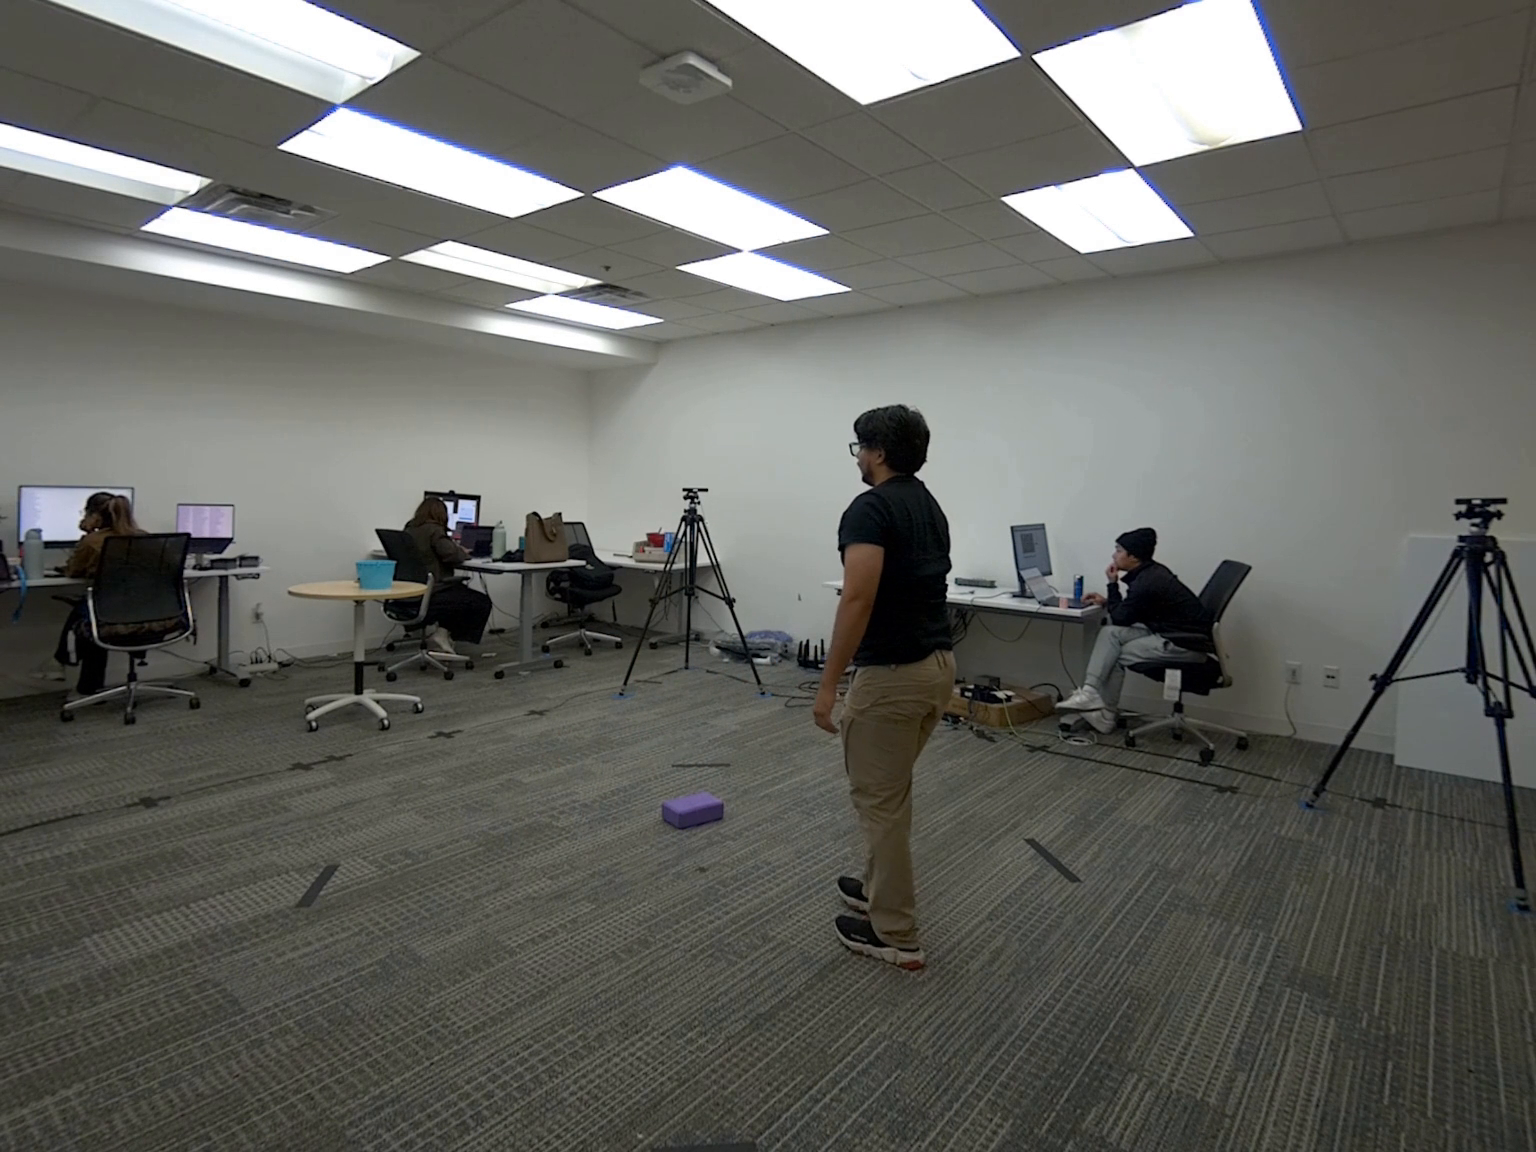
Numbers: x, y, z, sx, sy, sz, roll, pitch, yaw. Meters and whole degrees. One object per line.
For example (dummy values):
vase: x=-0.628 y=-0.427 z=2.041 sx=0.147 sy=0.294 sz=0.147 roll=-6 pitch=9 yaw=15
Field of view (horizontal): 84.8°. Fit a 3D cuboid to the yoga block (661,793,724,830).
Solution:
yoga block: x=-0.327 y=0.979 z=3.584 sx=0.223 sy=0.076 sz=0.154 roll=-3 pitch=7 yaw=-37
